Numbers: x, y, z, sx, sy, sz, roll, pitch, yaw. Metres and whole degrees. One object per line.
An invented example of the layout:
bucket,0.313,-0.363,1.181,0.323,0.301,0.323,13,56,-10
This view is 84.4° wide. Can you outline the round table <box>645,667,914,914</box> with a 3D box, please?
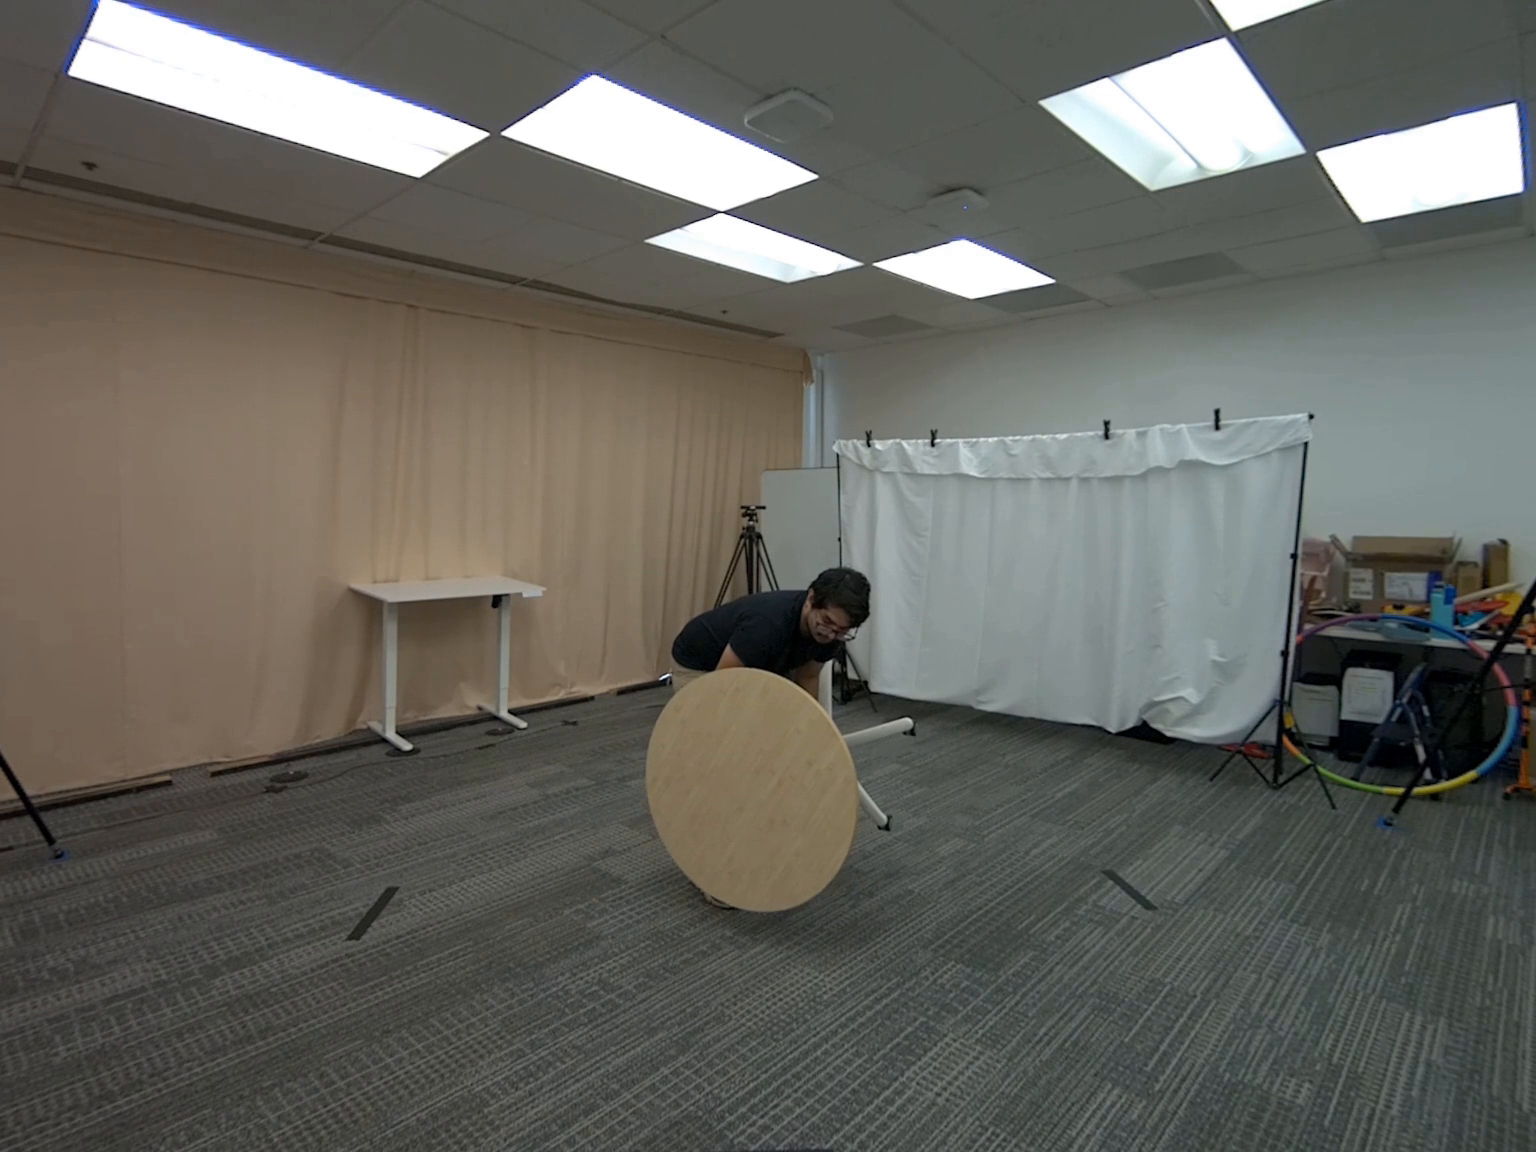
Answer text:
round table,0.108,0.672,3.034,0.807,0.785,0.765,2,1,29
